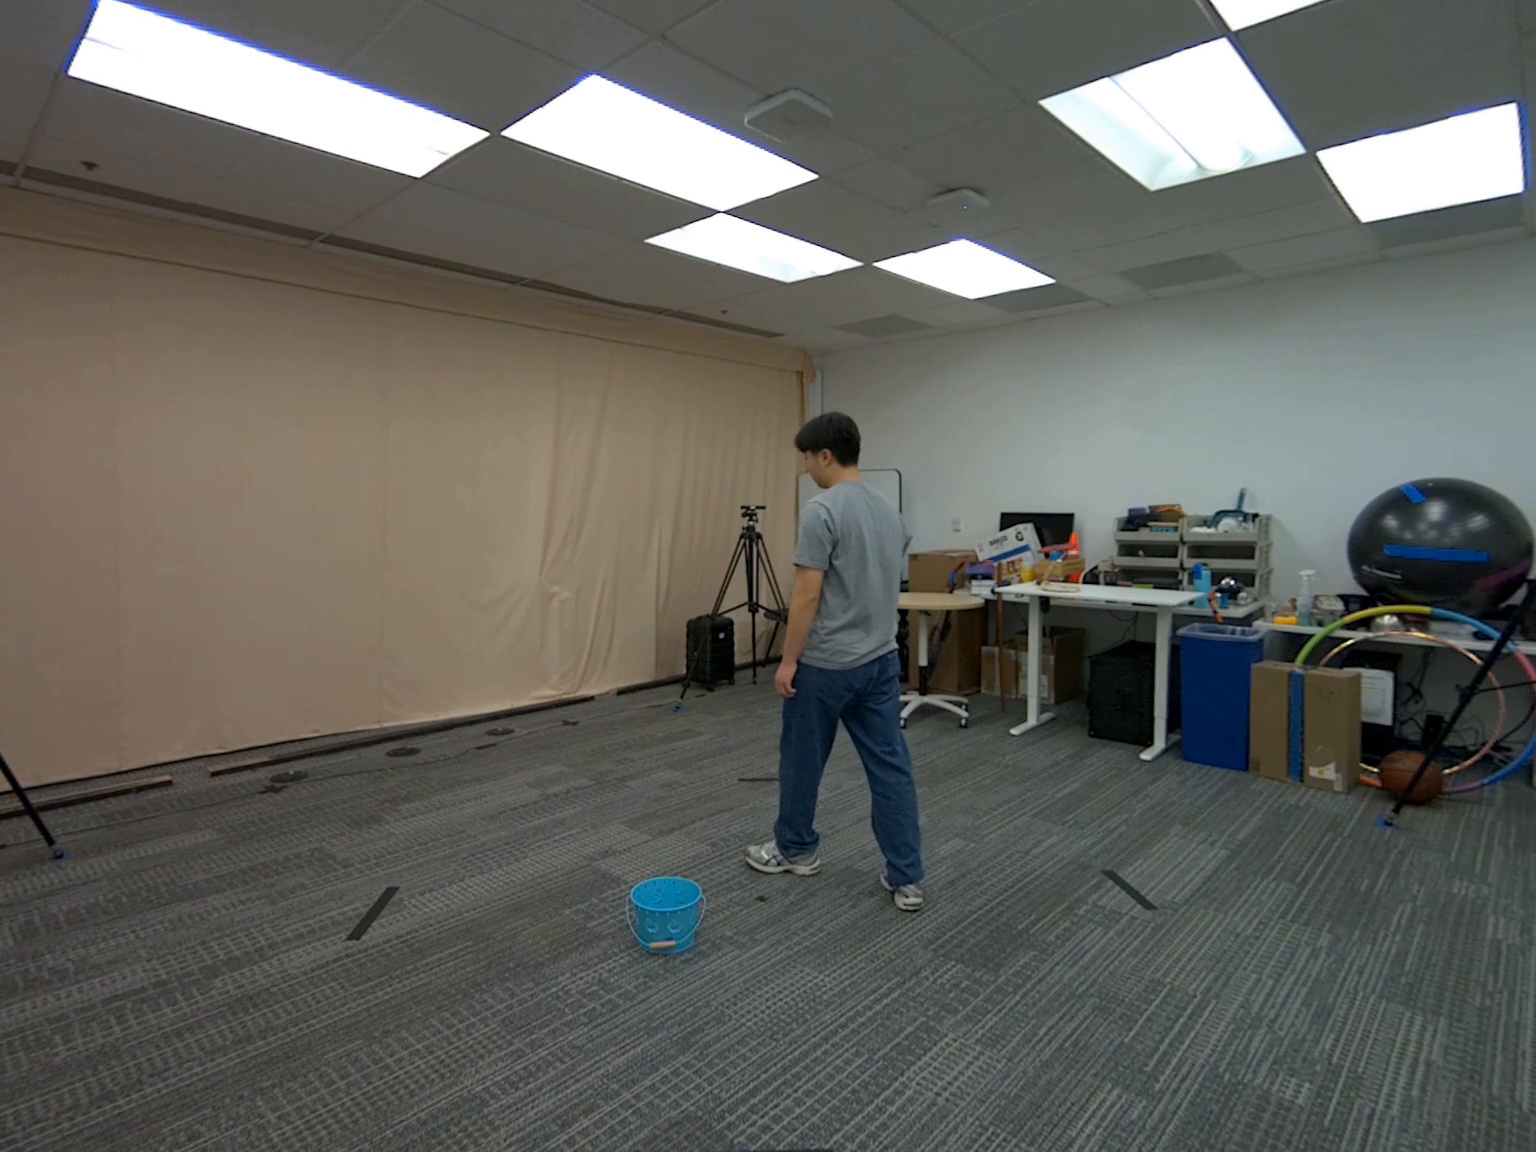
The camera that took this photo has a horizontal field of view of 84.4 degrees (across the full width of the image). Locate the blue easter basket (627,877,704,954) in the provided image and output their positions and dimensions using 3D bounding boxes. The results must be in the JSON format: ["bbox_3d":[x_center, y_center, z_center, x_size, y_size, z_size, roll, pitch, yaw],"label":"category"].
[{"bbox_3d":[-0.329,1.092,2.698,0.243,0.155,0.244,0,4,-2],"label":"blue easter basket"}]
